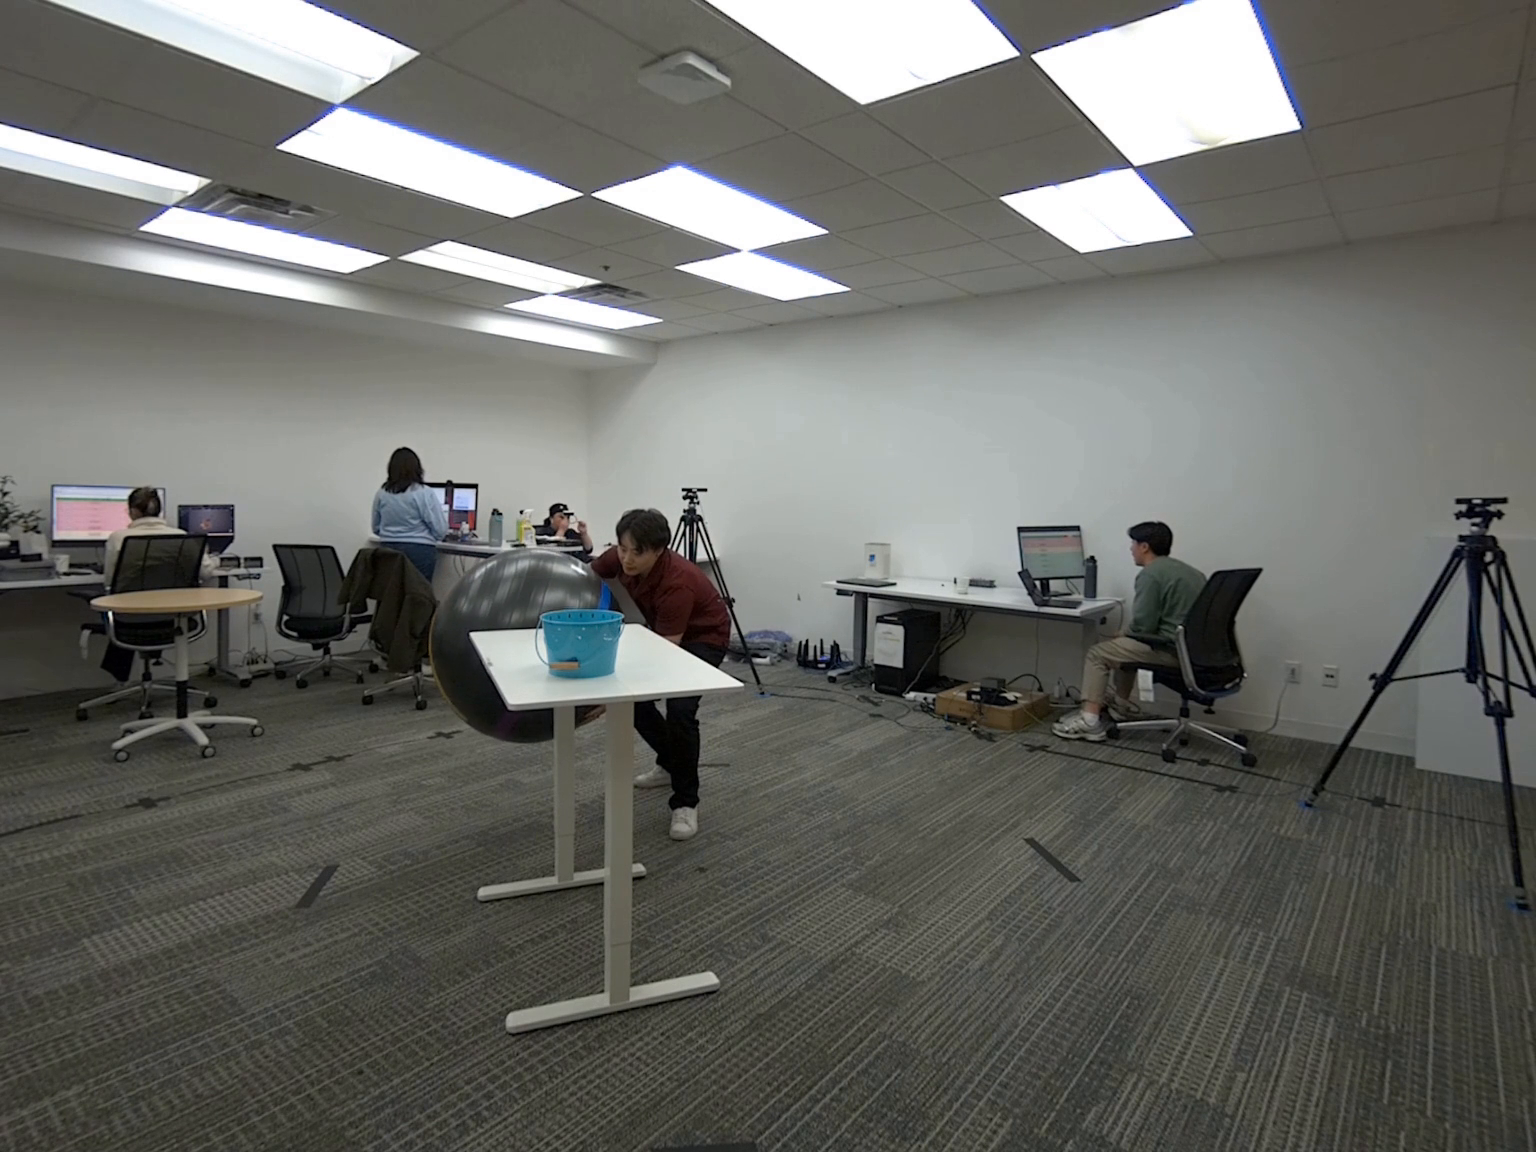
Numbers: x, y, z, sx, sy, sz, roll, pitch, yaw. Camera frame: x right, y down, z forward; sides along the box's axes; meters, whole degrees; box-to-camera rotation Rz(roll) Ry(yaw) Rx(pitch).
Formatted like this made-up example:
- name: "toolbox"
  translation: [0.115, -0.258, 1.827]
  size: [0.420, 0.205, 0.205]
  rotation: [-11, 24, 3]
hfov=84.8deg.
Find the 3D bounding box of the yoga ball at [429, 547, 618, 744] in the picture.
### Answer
- name: "yoga ball"
  translation: [-0.963, 0.278, 3.368]
  size: [0.757, 0.756, 0.762]
  rotation: [1, 4, -2]
